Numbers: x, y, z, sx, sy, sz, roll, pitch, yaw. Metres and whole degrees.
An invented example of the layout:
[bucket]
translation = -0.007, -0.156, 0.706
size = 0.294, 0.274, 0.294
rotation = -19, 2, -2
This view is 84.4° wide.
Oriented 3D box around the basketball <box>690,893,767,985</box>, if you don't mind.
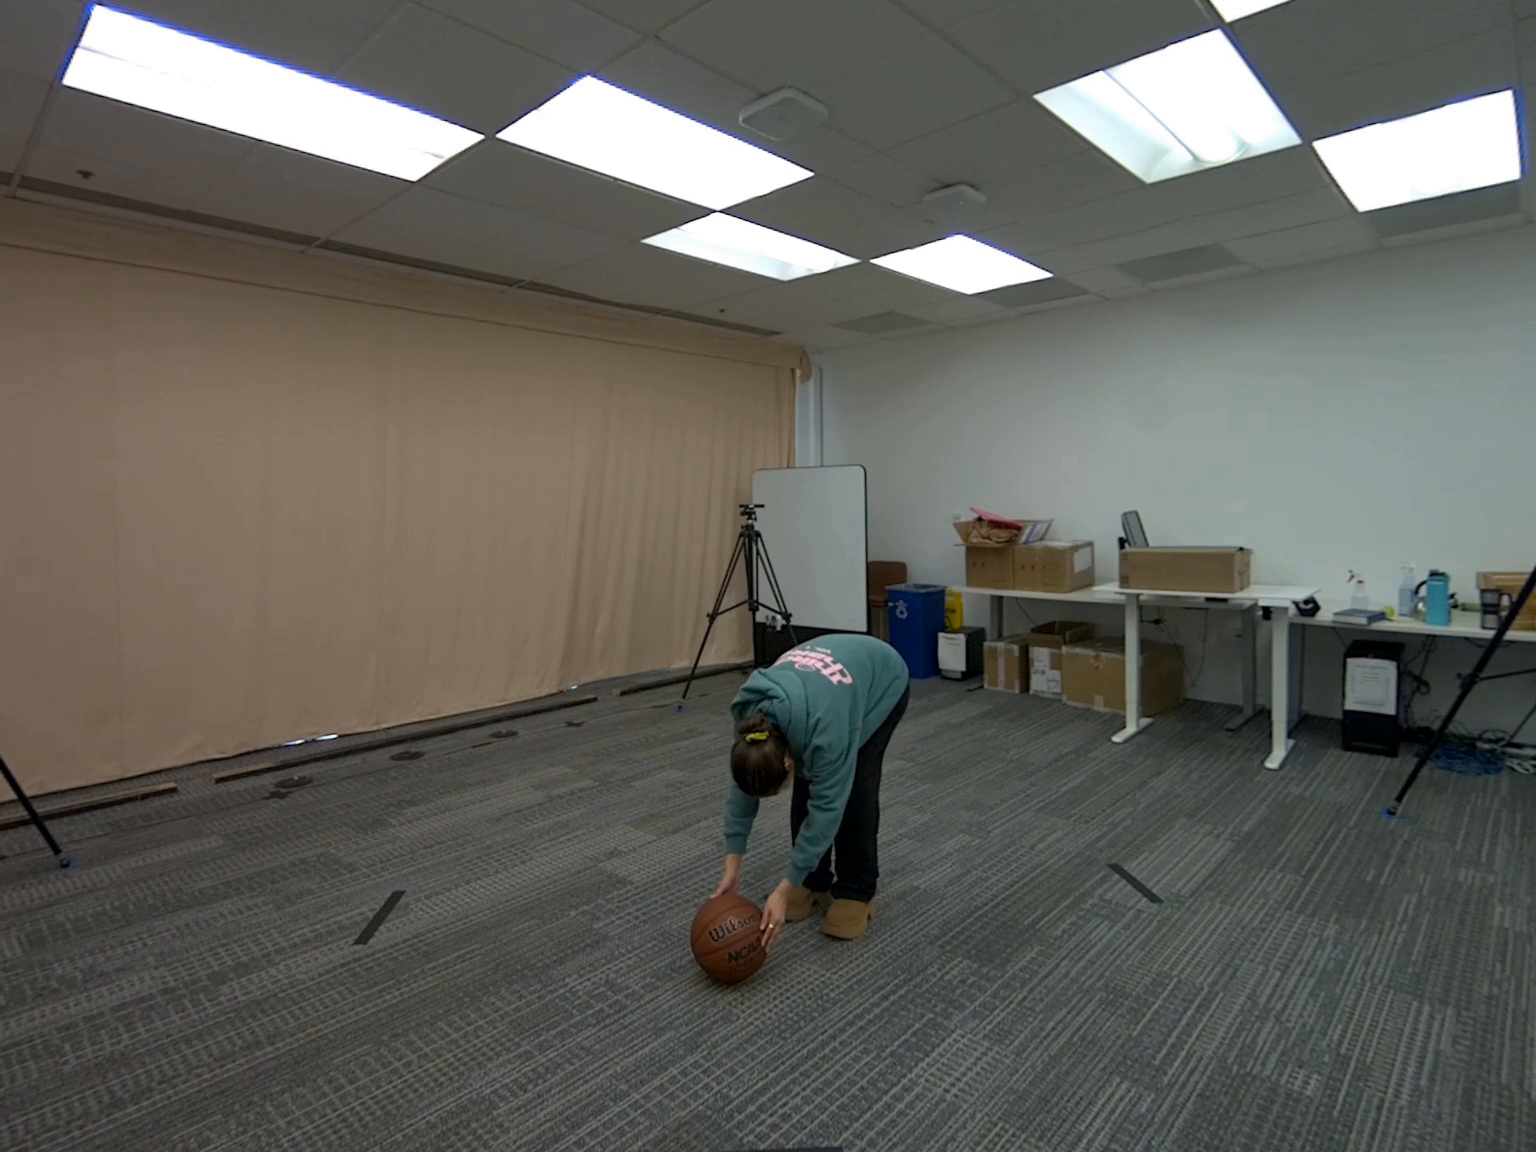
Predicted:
[basketball]
translation = -0.103, 1.056, 2.485
size = 0.236, 0.235, 0.237
rotation = -1, 4, -2
